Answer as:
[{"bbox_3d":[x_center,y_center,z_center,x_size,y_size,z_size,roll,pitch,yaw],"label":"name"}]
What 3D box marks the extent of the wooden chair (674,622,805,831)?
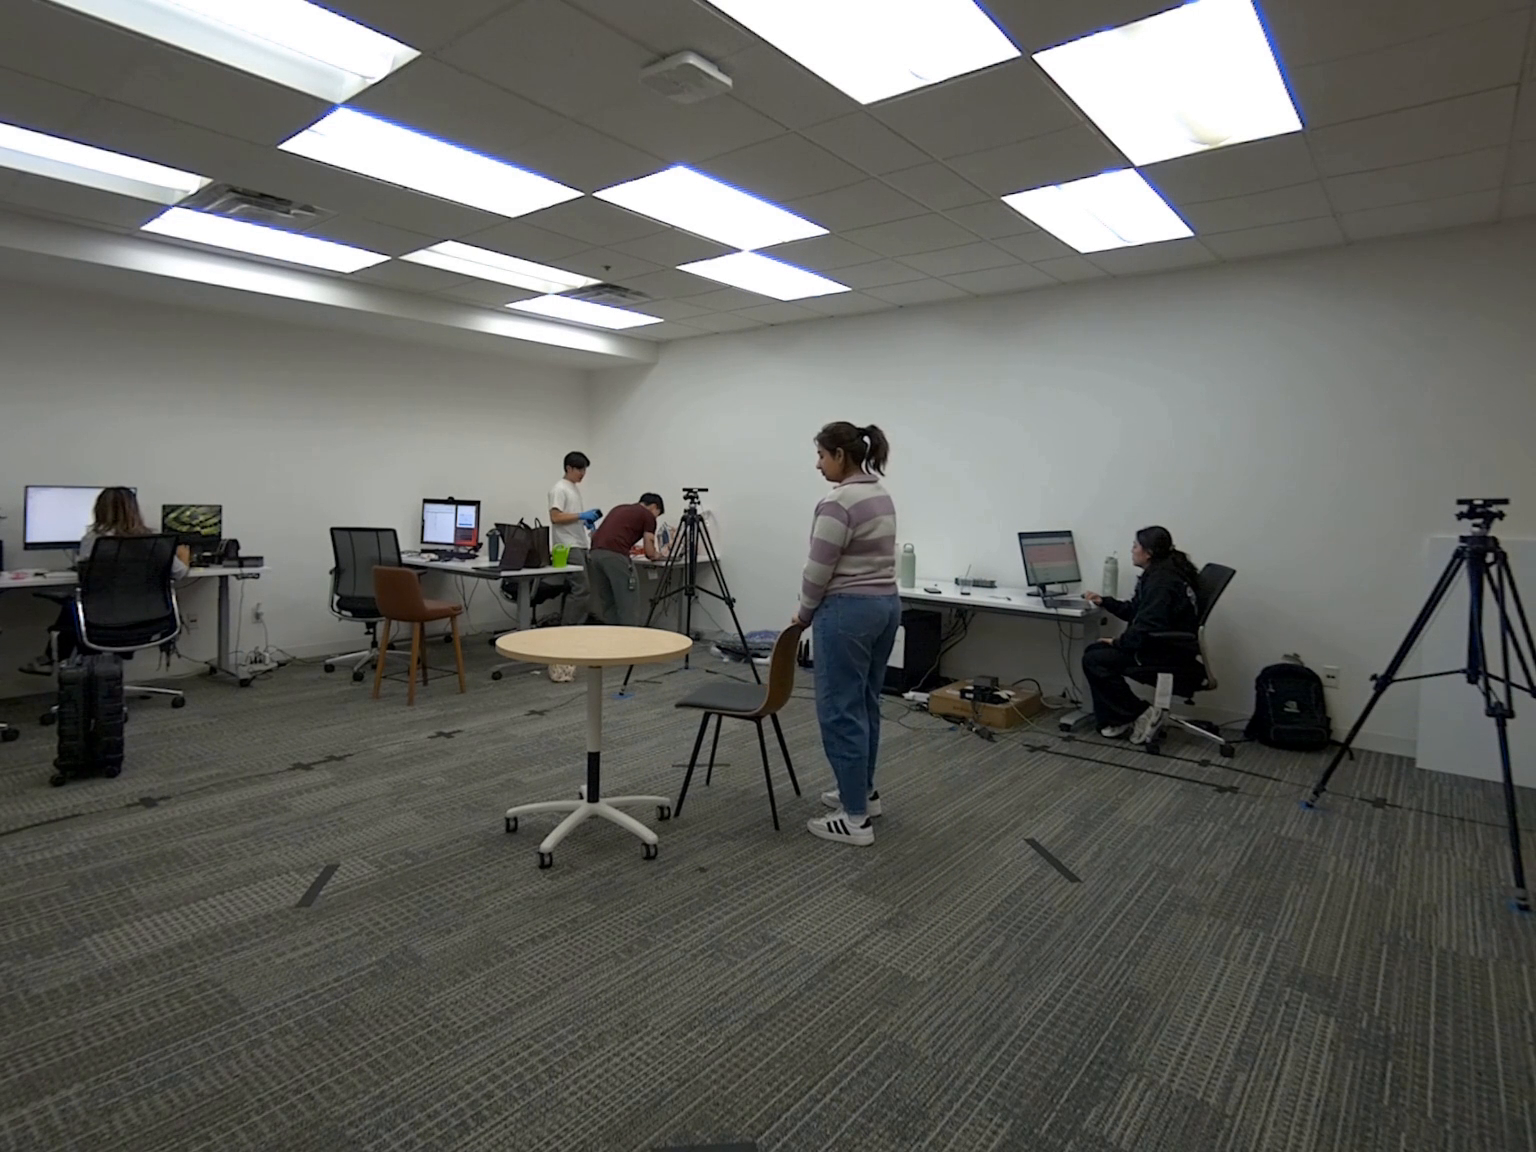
[{"bbox_3d":[-0.138,0.582,3.727,0.534,0.874,0.470,7,5,17],"label":"wooden chair"}]
